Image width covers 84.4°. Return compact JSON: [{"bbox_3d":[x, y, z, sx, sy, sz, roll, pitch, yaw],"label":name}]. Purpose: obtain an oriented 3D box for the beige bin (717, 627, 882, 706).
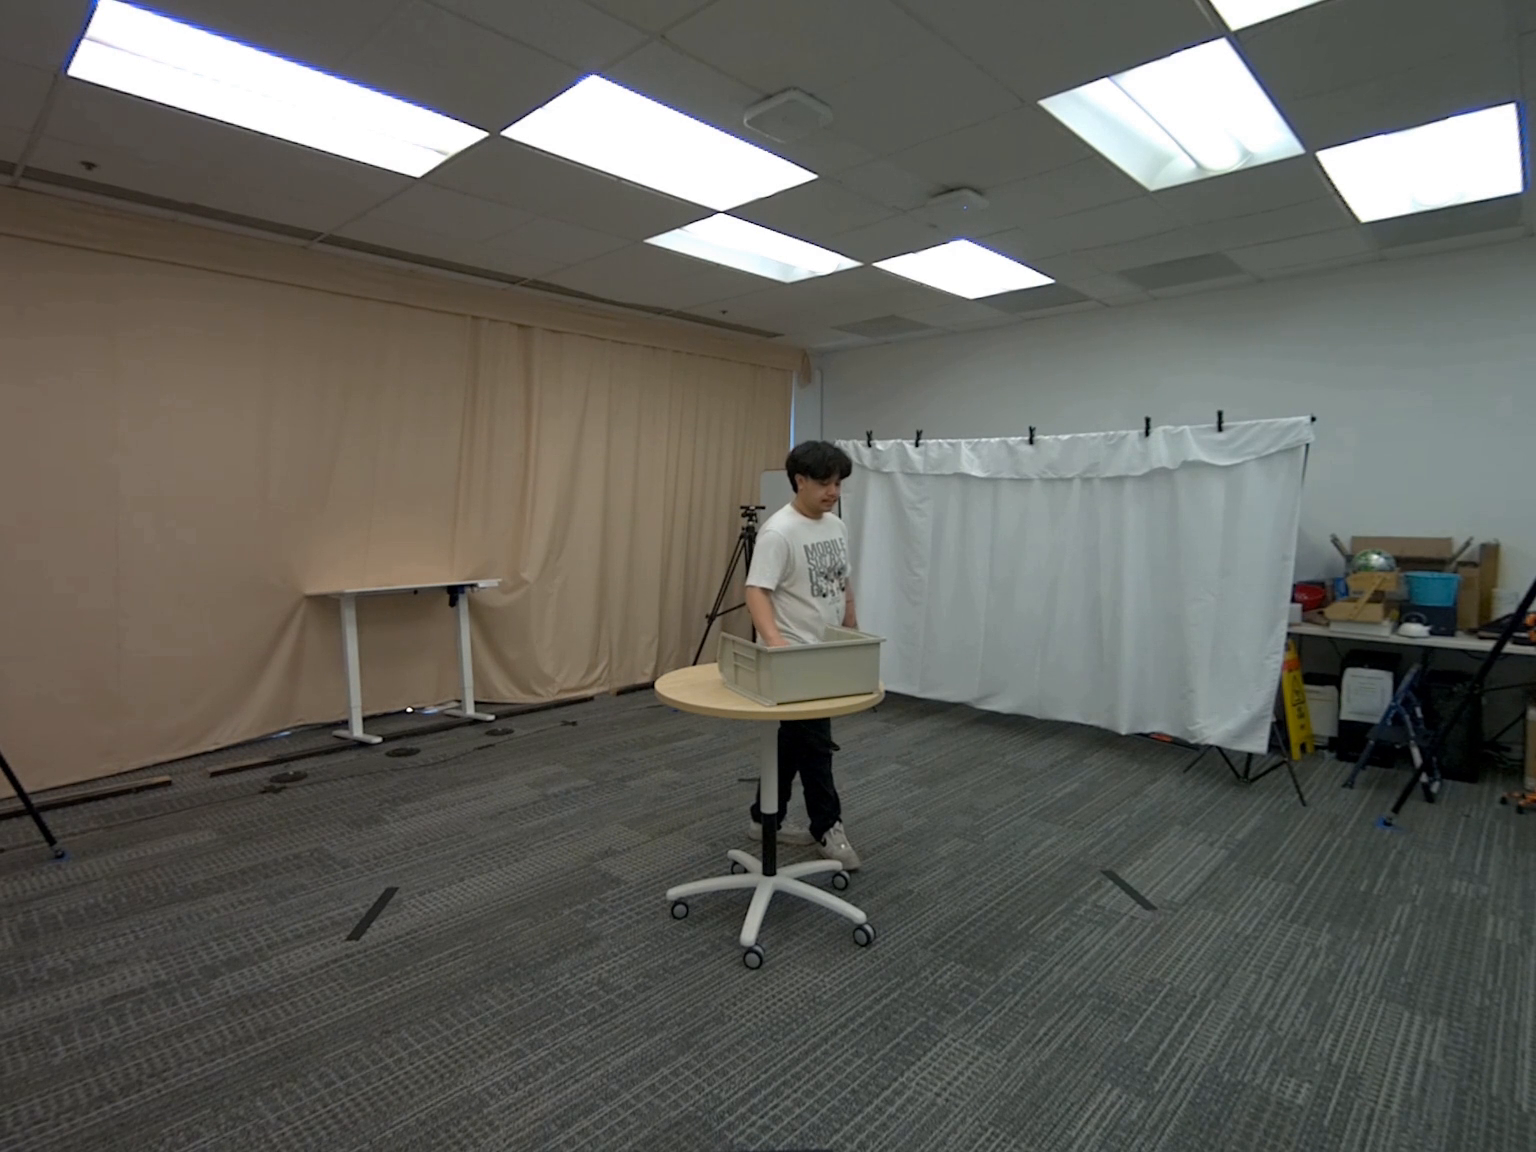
[{"bbox_3d":[0.101,0.280,2.735,0.412,0.188,0.387,-2,6,-25],"label":"beige bin"}]
